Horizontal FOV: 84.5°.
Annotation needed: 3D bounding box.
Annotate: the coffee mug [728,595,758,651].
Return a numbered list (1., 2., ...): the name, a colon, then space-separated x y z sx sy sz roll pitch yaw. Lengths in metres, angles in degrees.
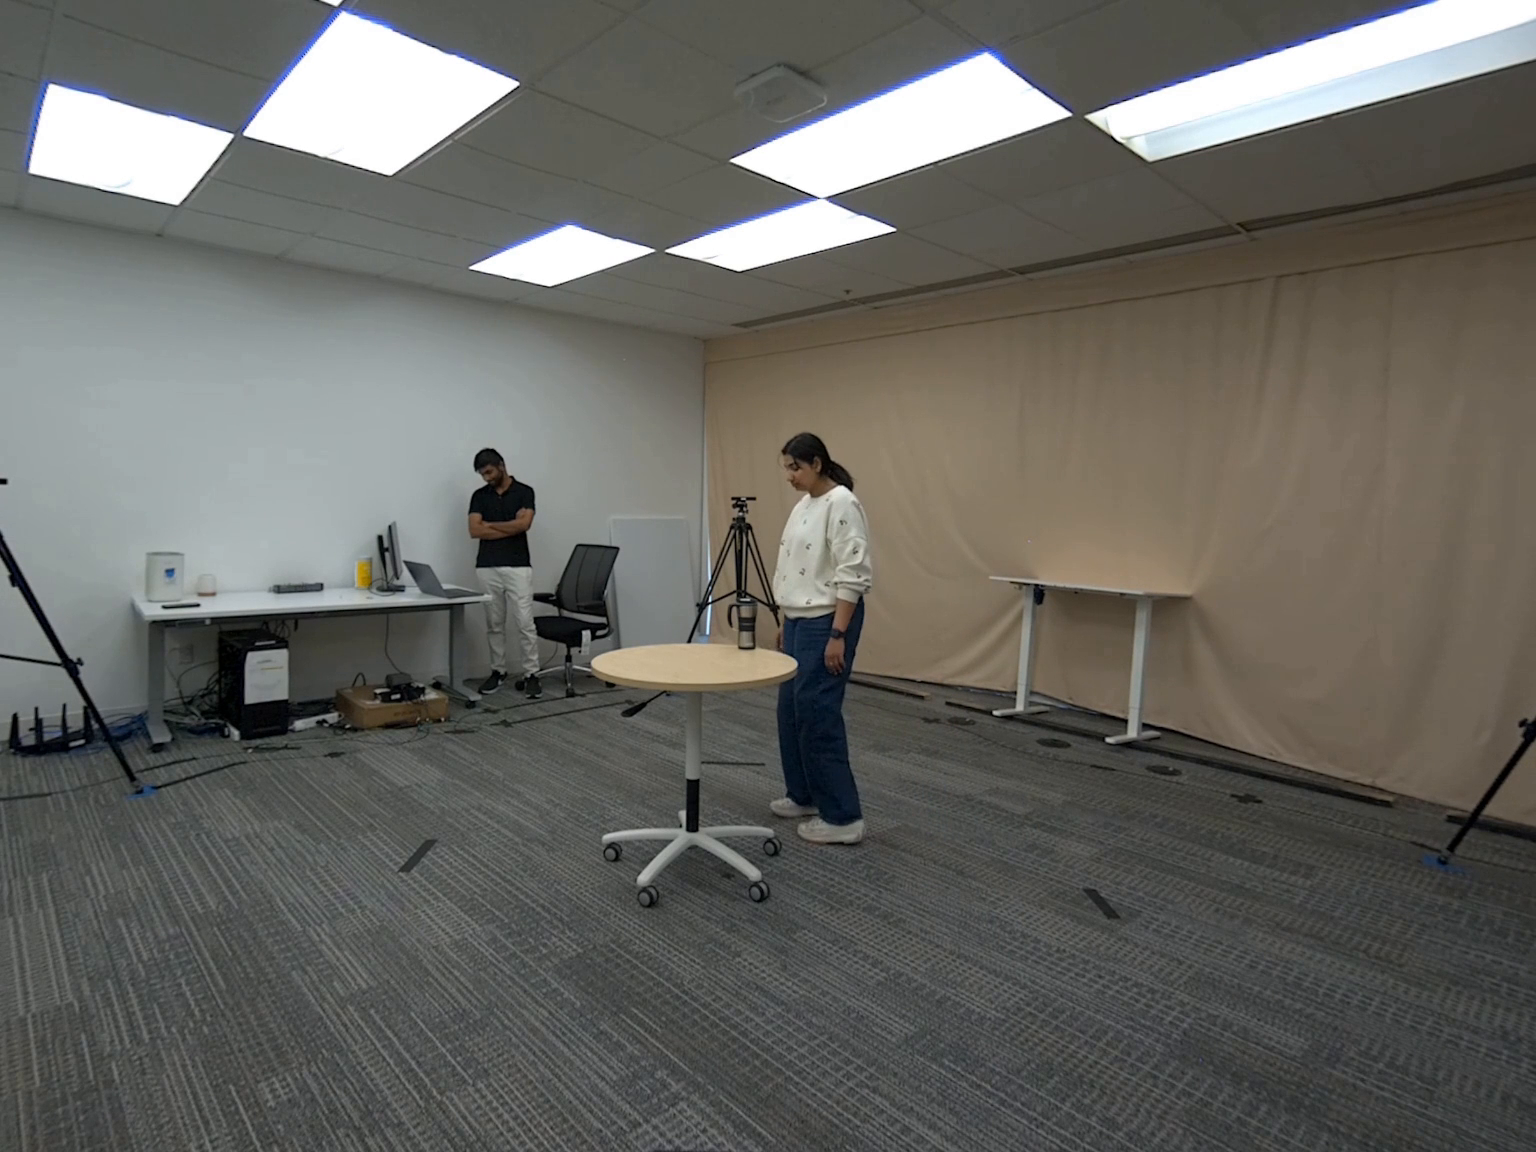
1. coffee mug: -0.115 0.195 3.414 0.122 0.202 0.088 4 6 -2
